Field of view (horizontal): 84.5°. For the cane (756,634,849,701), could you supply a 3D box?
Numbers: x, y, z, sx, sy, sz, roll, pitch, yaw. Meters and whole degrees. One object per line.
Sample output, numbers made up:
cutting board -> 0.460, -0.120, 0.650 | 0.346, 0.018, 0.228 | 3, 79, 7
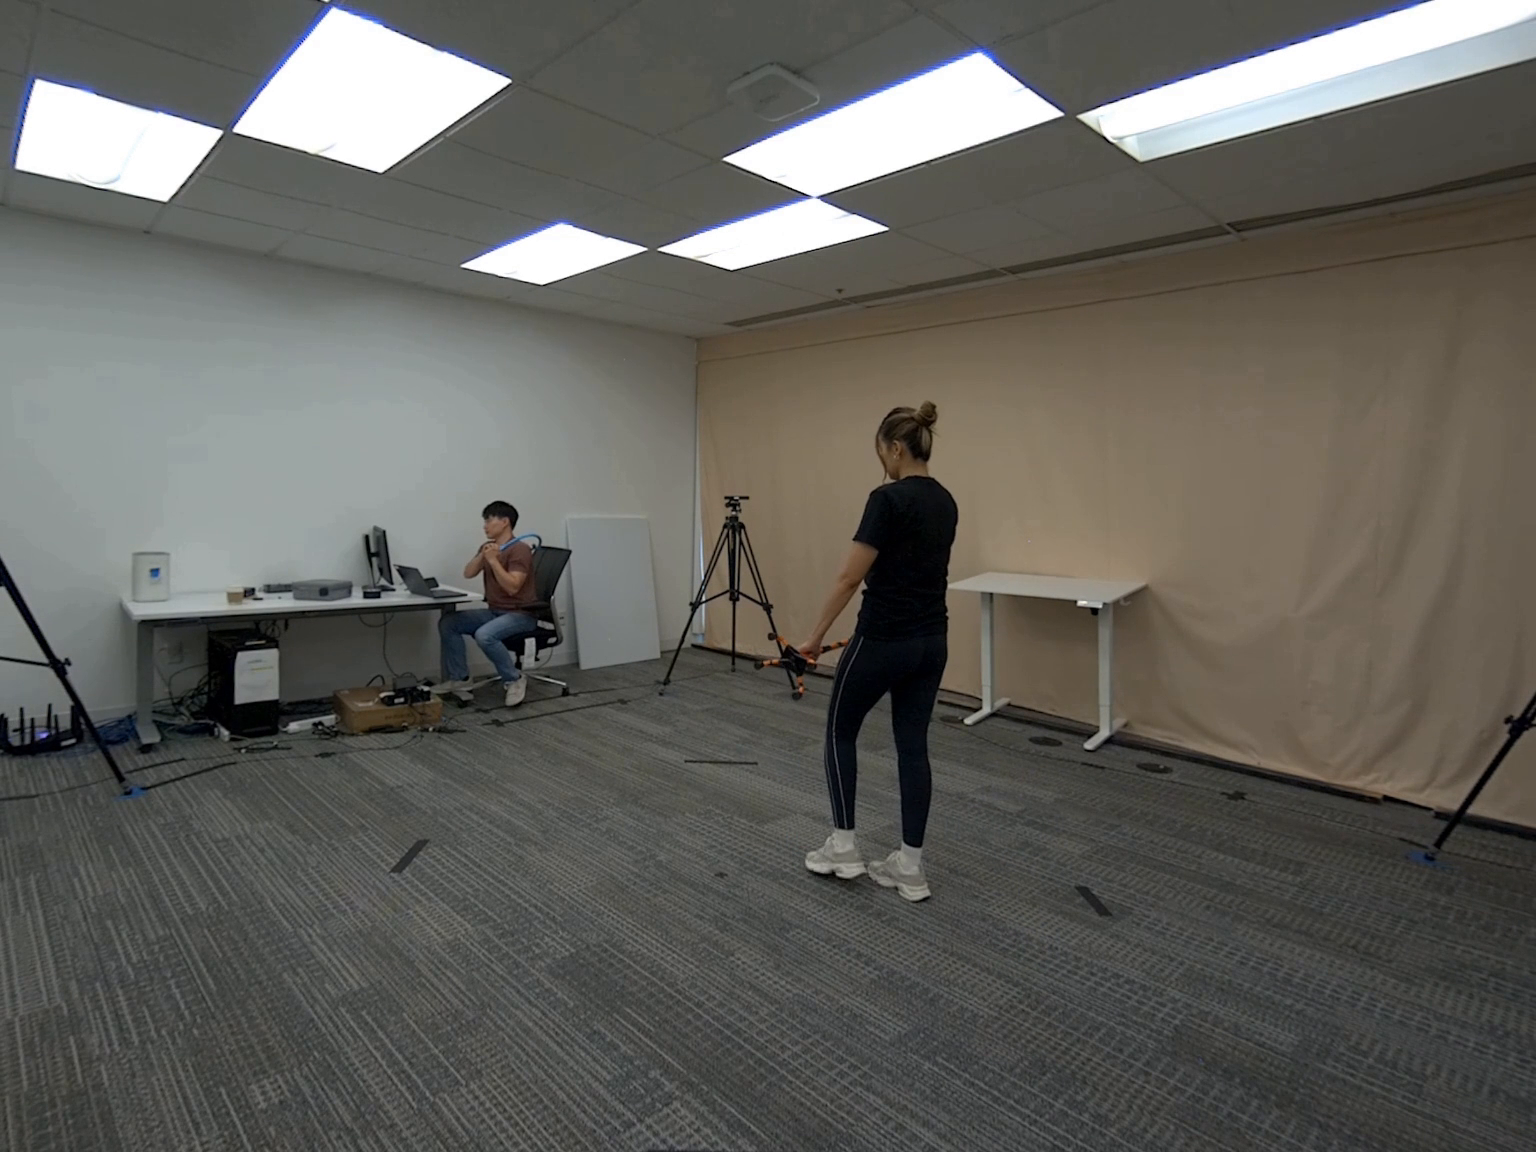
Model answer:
cane -> 0.295, 0.267, 3.217 | 0.212, 0.150, 0.889 | 38, 26, 28
